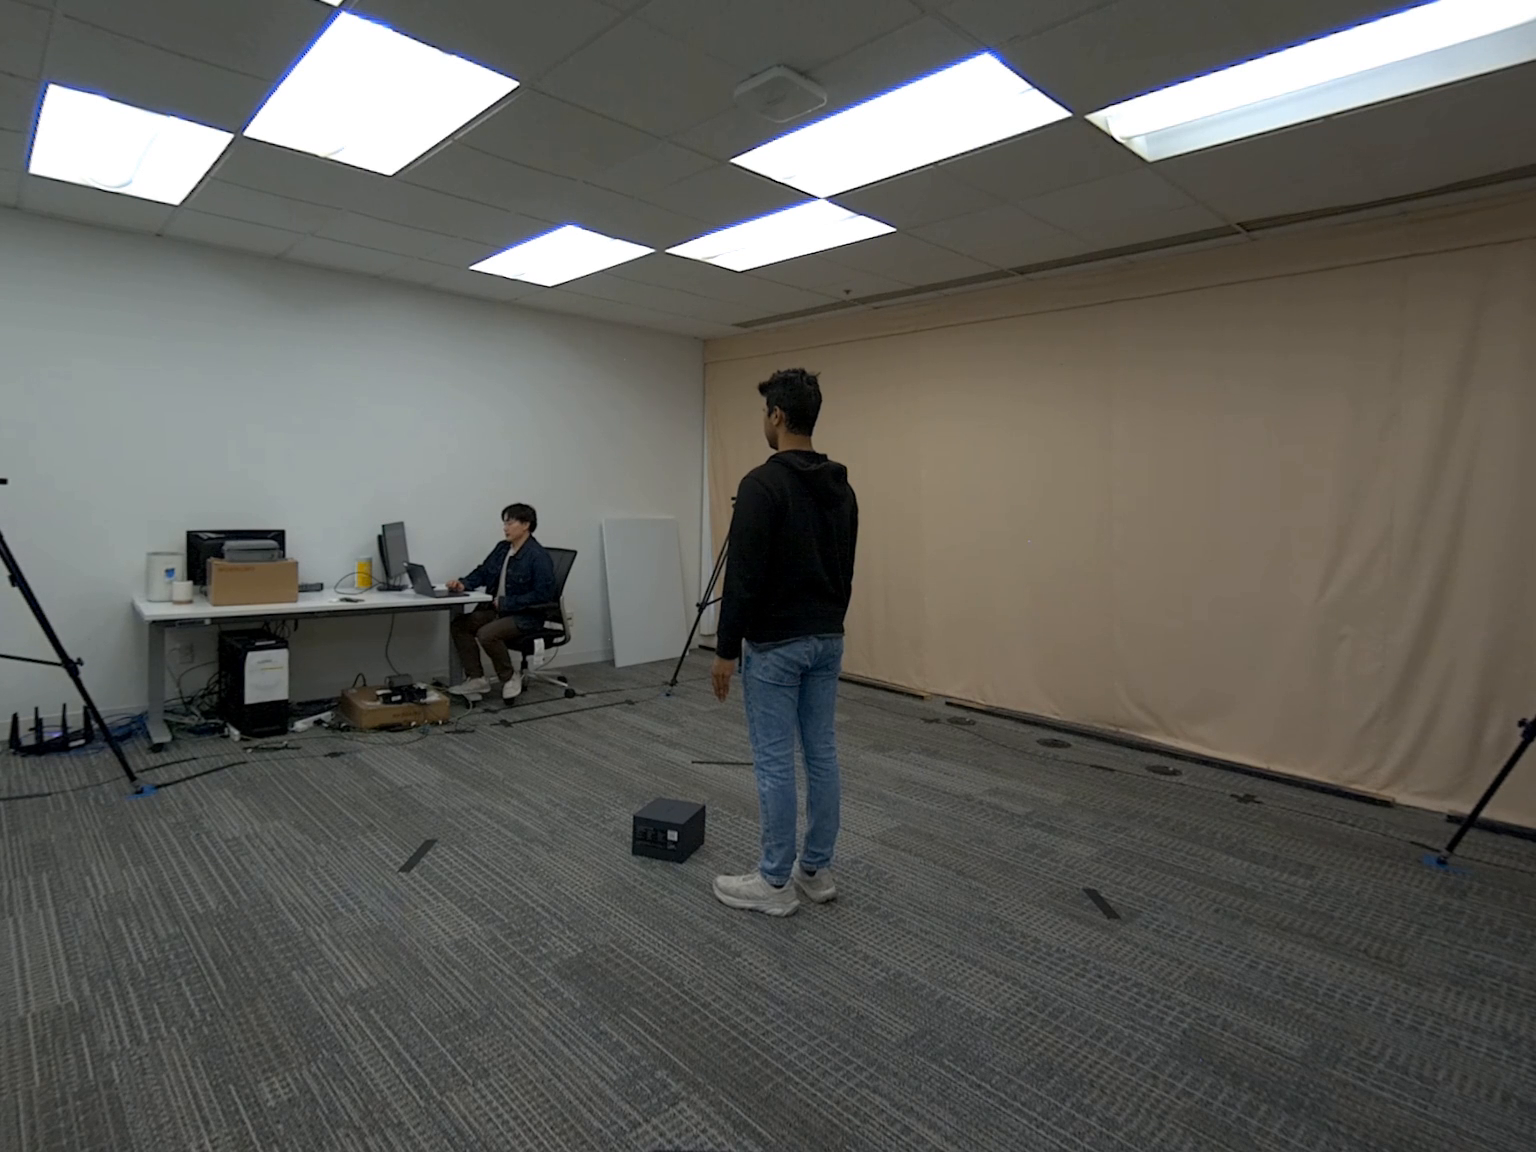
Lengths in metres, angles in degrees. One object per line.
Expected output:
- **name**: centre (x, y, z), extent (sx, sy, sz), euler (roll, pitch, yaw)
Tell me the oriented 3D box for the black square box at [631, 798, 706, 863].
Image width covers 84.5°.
- **black square box**: centre (-0.399, 0.995, 3.330), extent (0.220, 0.155, 0.225), euler (3, 4, 20)
